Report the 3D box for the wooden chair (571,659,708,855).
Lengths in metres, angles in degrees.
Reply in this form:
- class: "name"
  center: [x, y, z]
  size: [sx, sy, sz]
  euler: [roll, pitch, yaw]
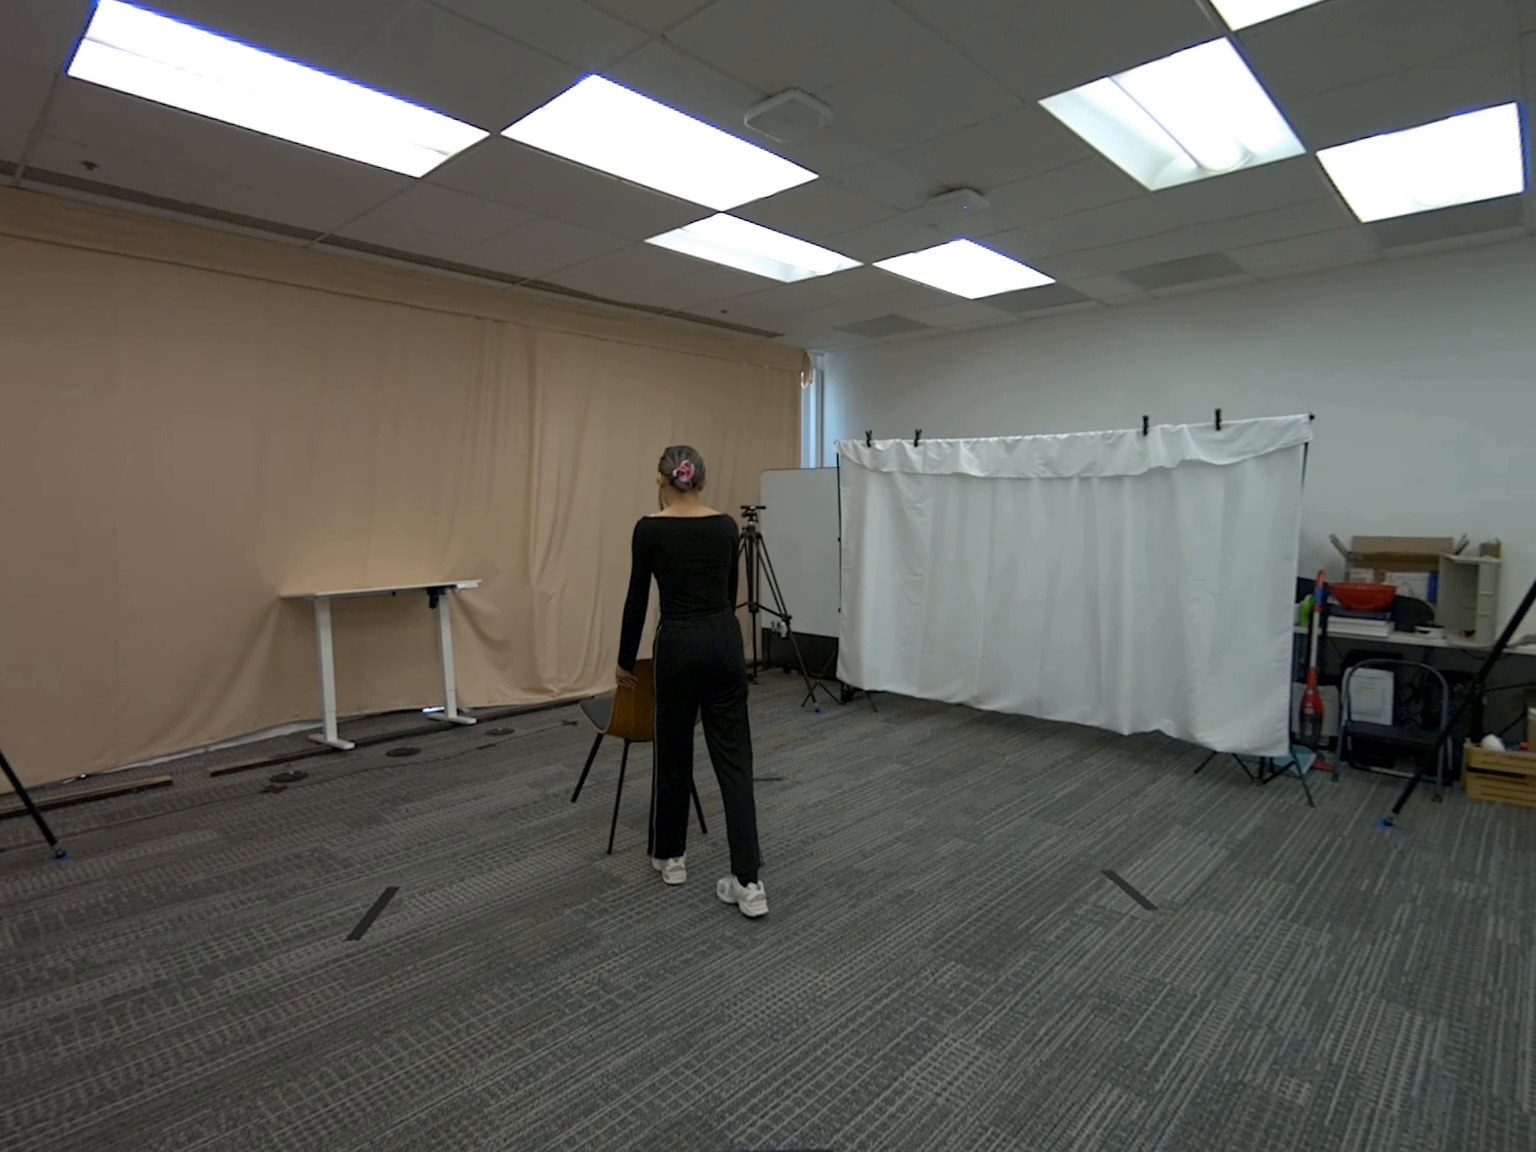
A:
- class: "wooden chair"
  center: [-0.532, 0.639, 3.580]
  size: [0.465, 0.870, 0.541]
  euler: [-2, 19, -30]
